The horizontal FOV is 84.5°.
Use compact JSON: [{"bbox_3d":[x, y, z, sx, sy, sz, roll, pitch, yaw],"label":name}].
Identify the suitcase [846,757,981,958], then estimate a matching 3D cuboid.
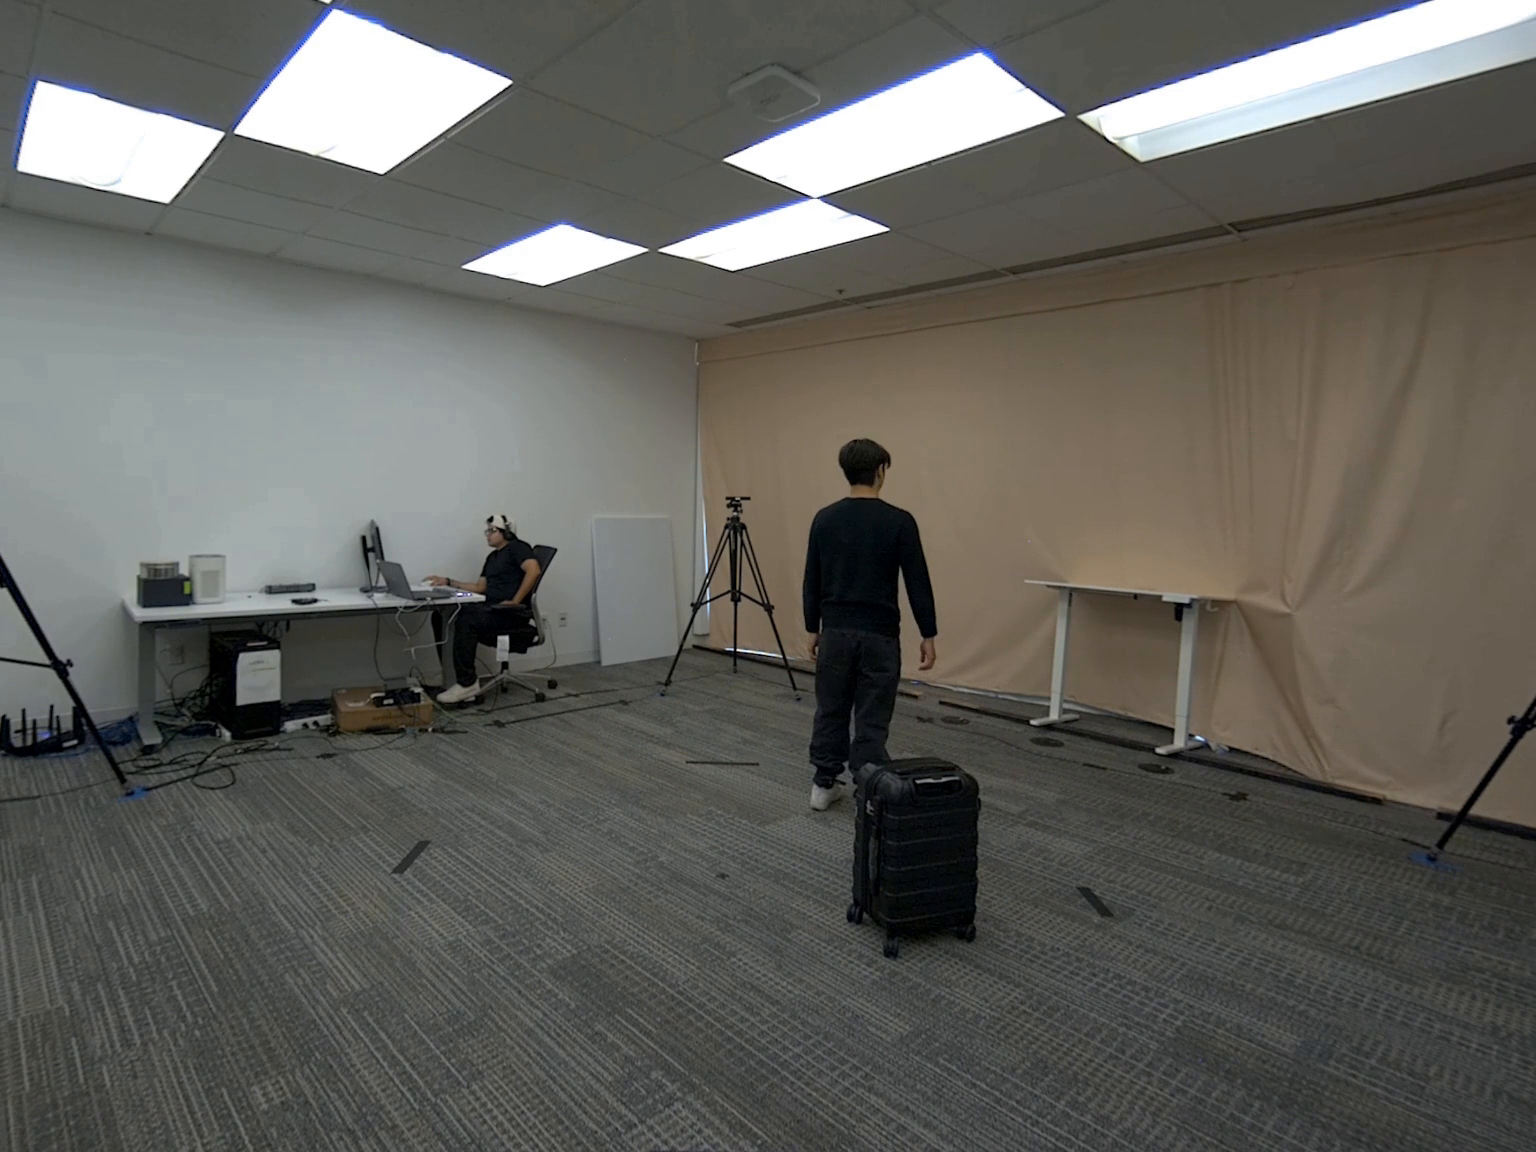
[{"bbox_3d":[0.471,0.879,2.741,0.369,0.548,0.253,1,2,-22],"label":"suitcase"}]
